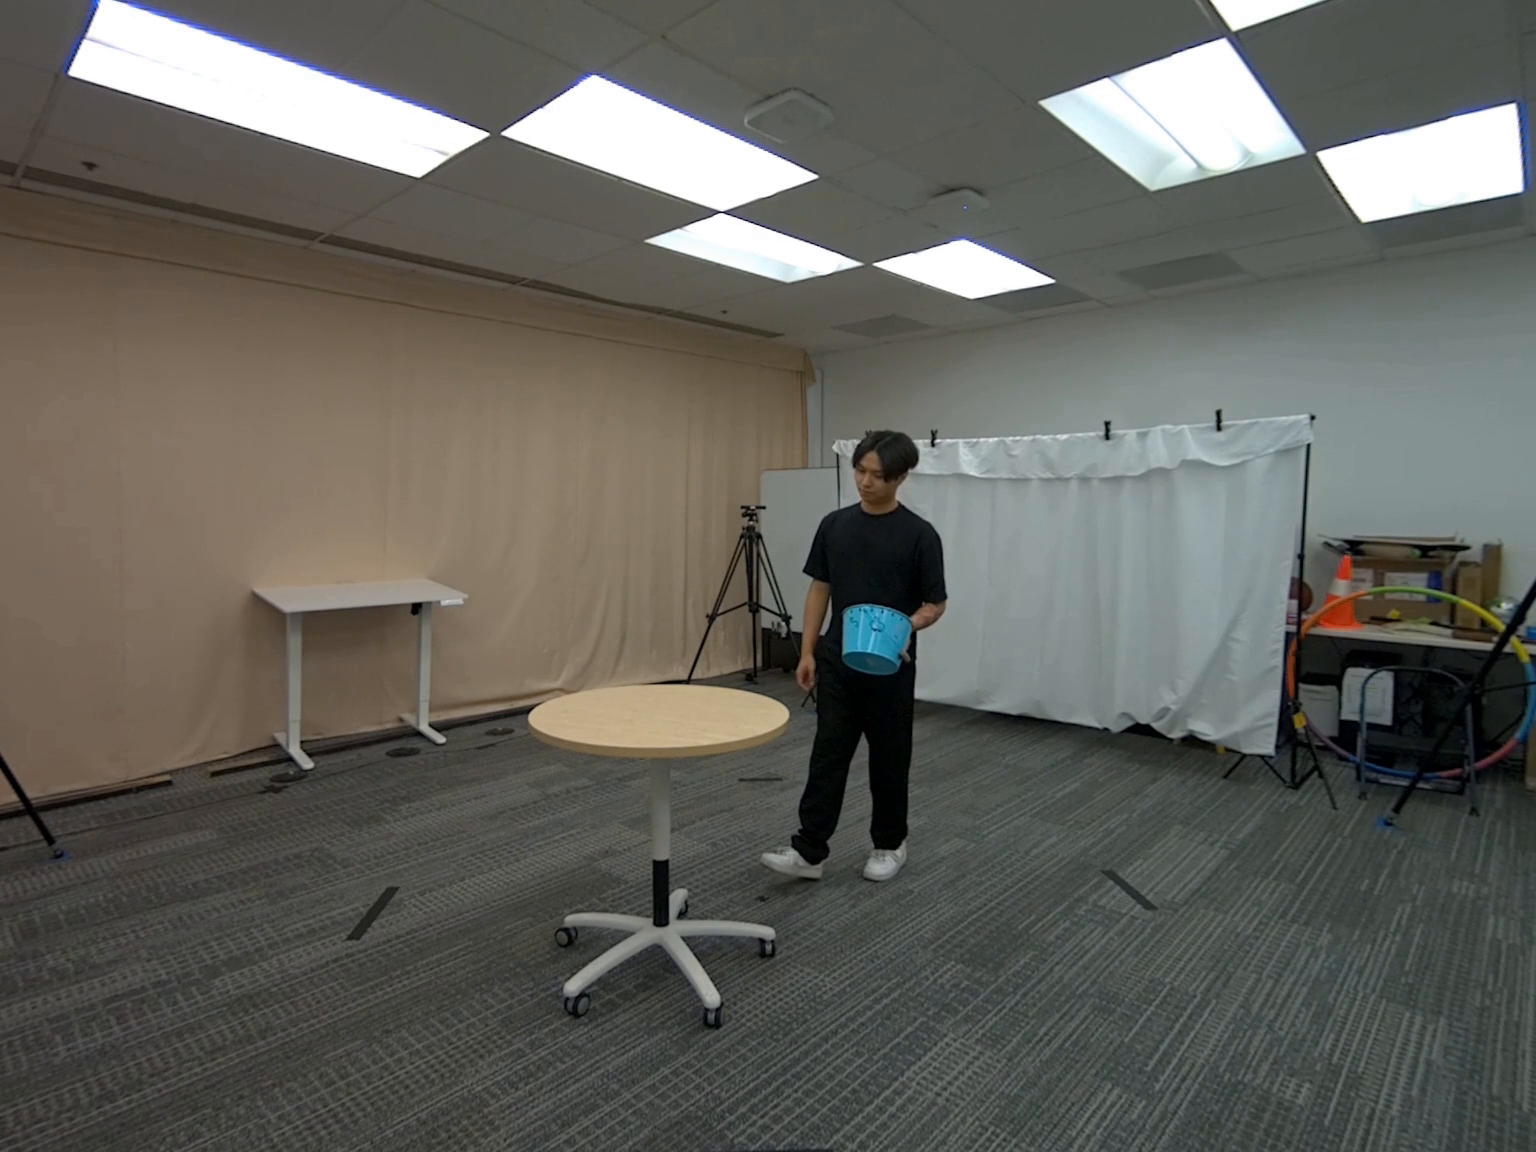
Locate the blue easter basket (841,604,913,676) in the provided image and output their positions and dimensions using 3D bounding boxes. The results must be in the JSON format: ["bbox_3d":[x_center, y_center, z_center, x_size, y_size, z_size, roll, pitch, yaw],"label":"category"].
[{"bbox_3d":[0.340,0.211,2.718,0.245,0.157,0.240,13,-27,5],"label":"blue easter basket"}]
